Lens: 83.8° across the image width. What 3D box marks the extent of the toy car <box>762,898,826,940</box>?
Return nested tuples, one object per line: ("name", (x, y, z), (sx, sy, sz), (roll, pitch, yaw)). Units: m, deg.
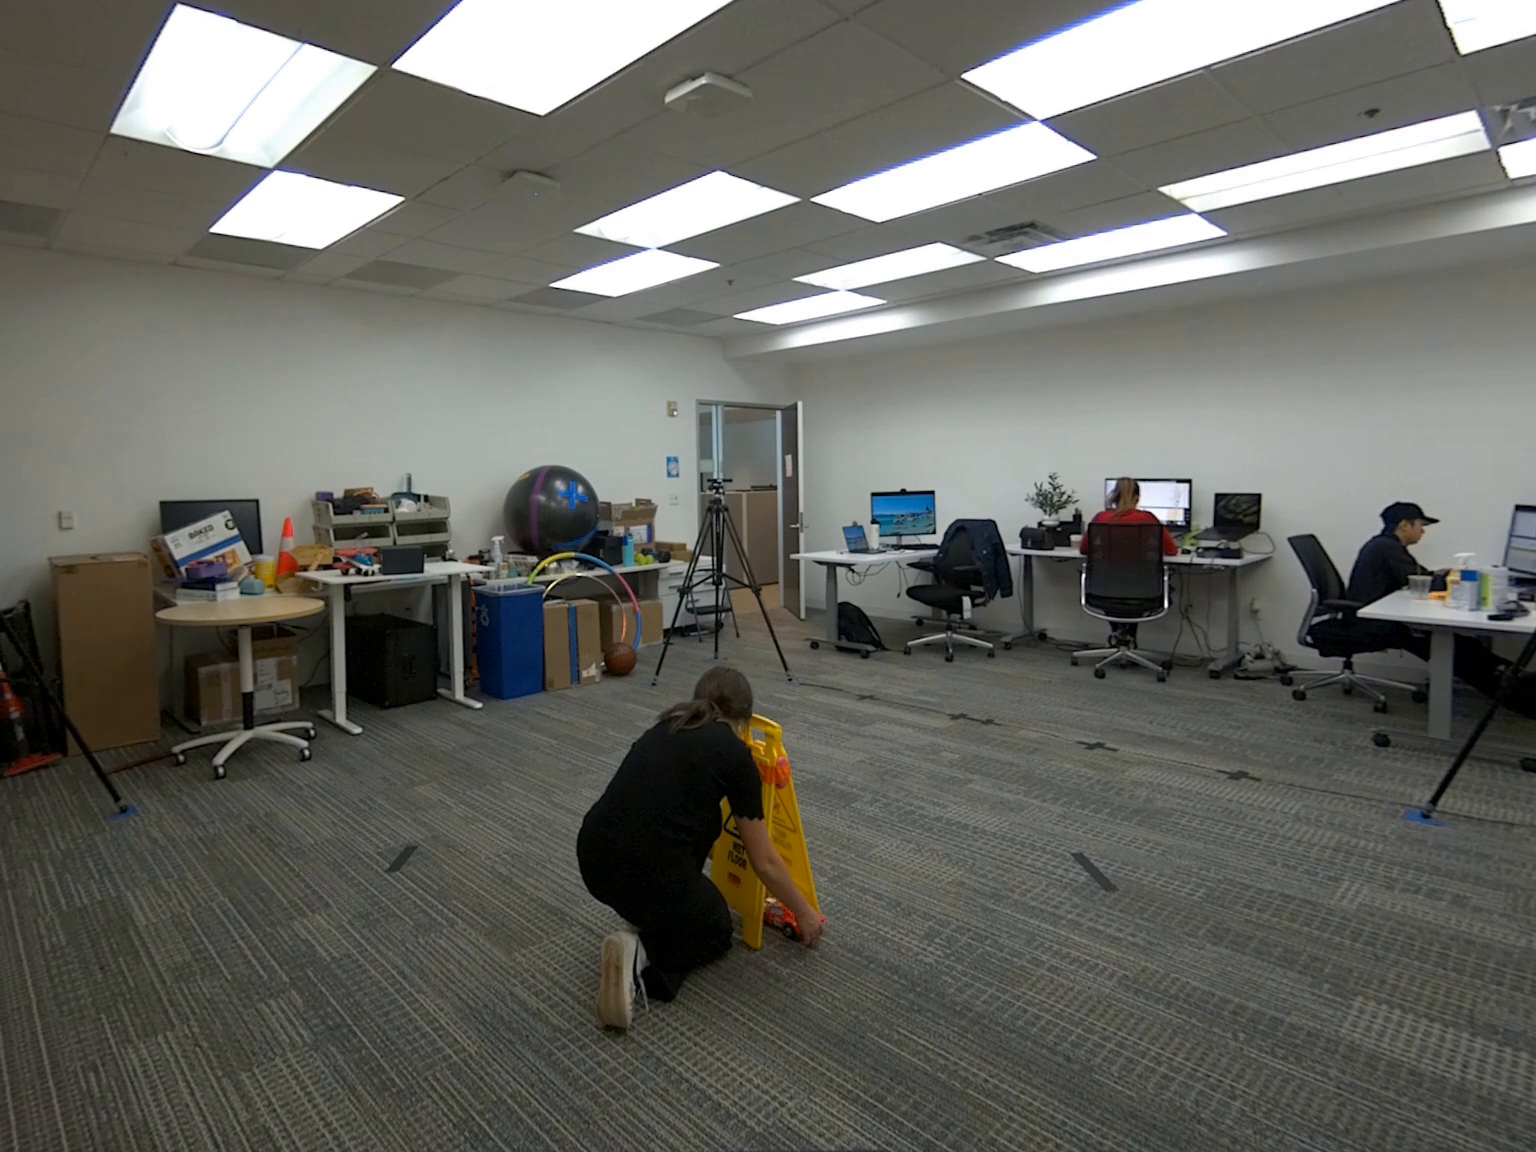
("toy car", (0.043, 1.066, 2.665), (0.260, 0.083, 0.127), (-9, -4, 40))
